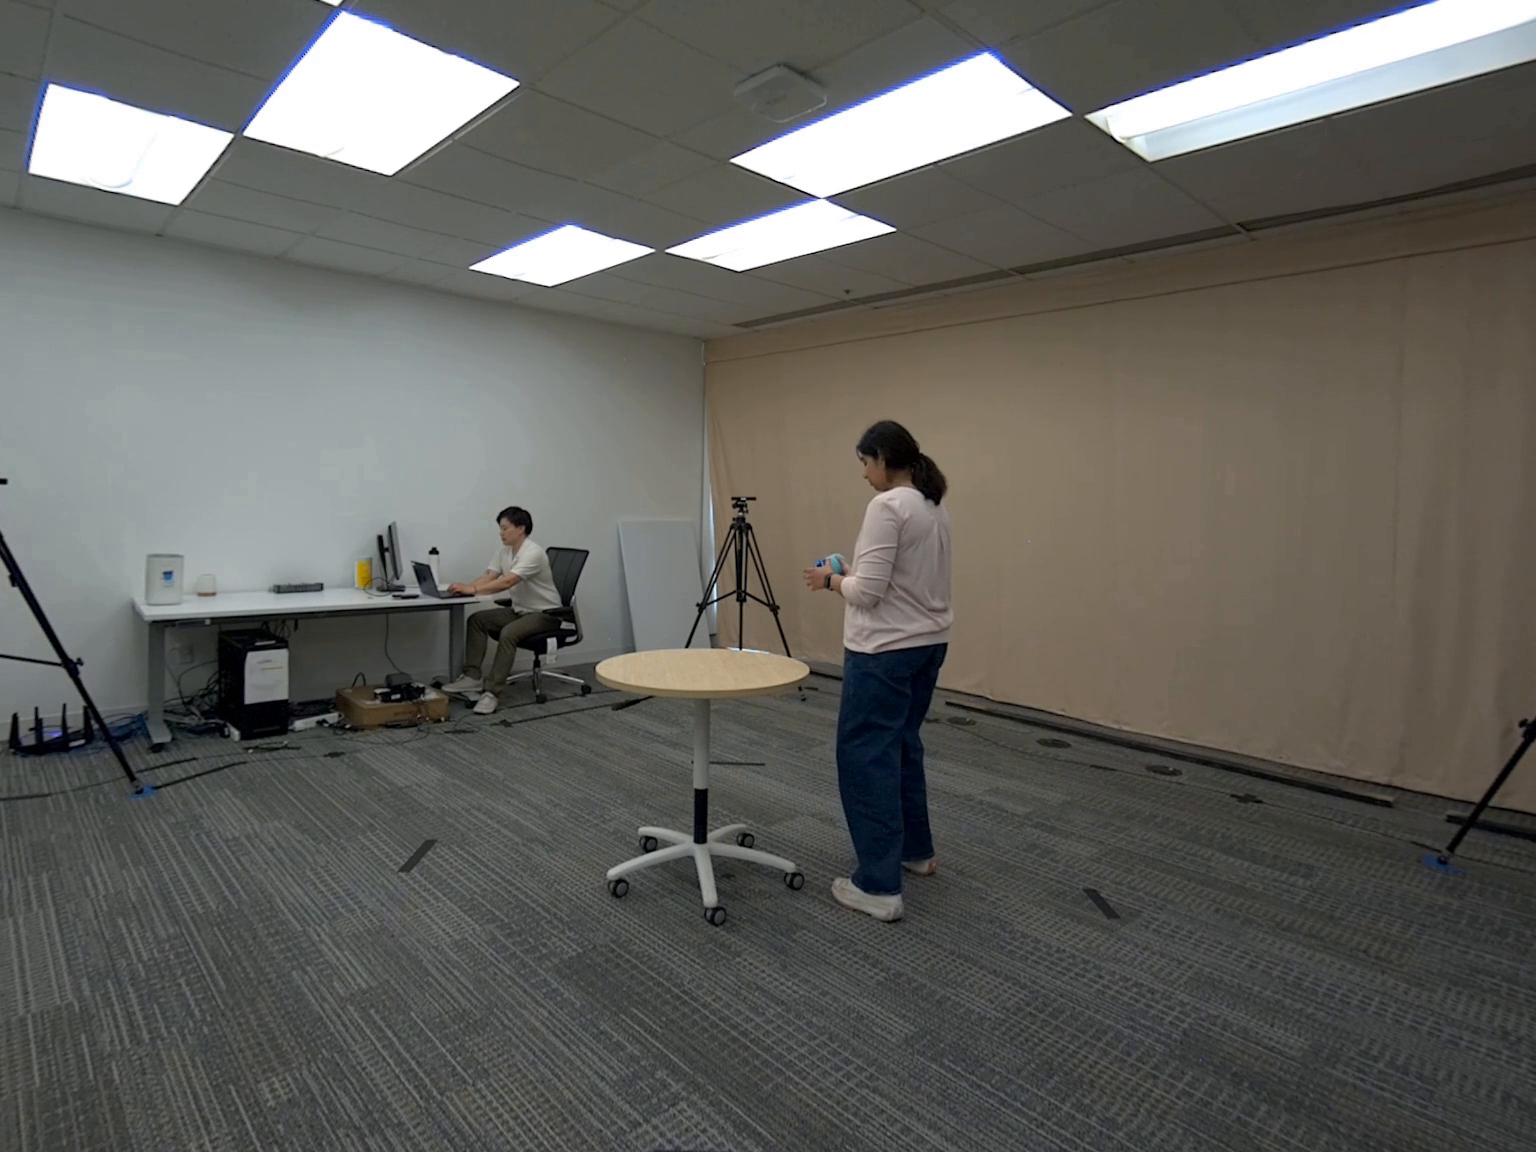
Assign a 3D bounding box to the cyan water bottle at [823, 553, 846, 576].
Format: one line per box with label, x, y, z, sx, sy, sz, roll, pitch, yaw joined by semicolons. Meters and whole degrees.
cyan water bottle;0.235;-0.027;3.268;0.093;0.092;0.281;2;8;15
